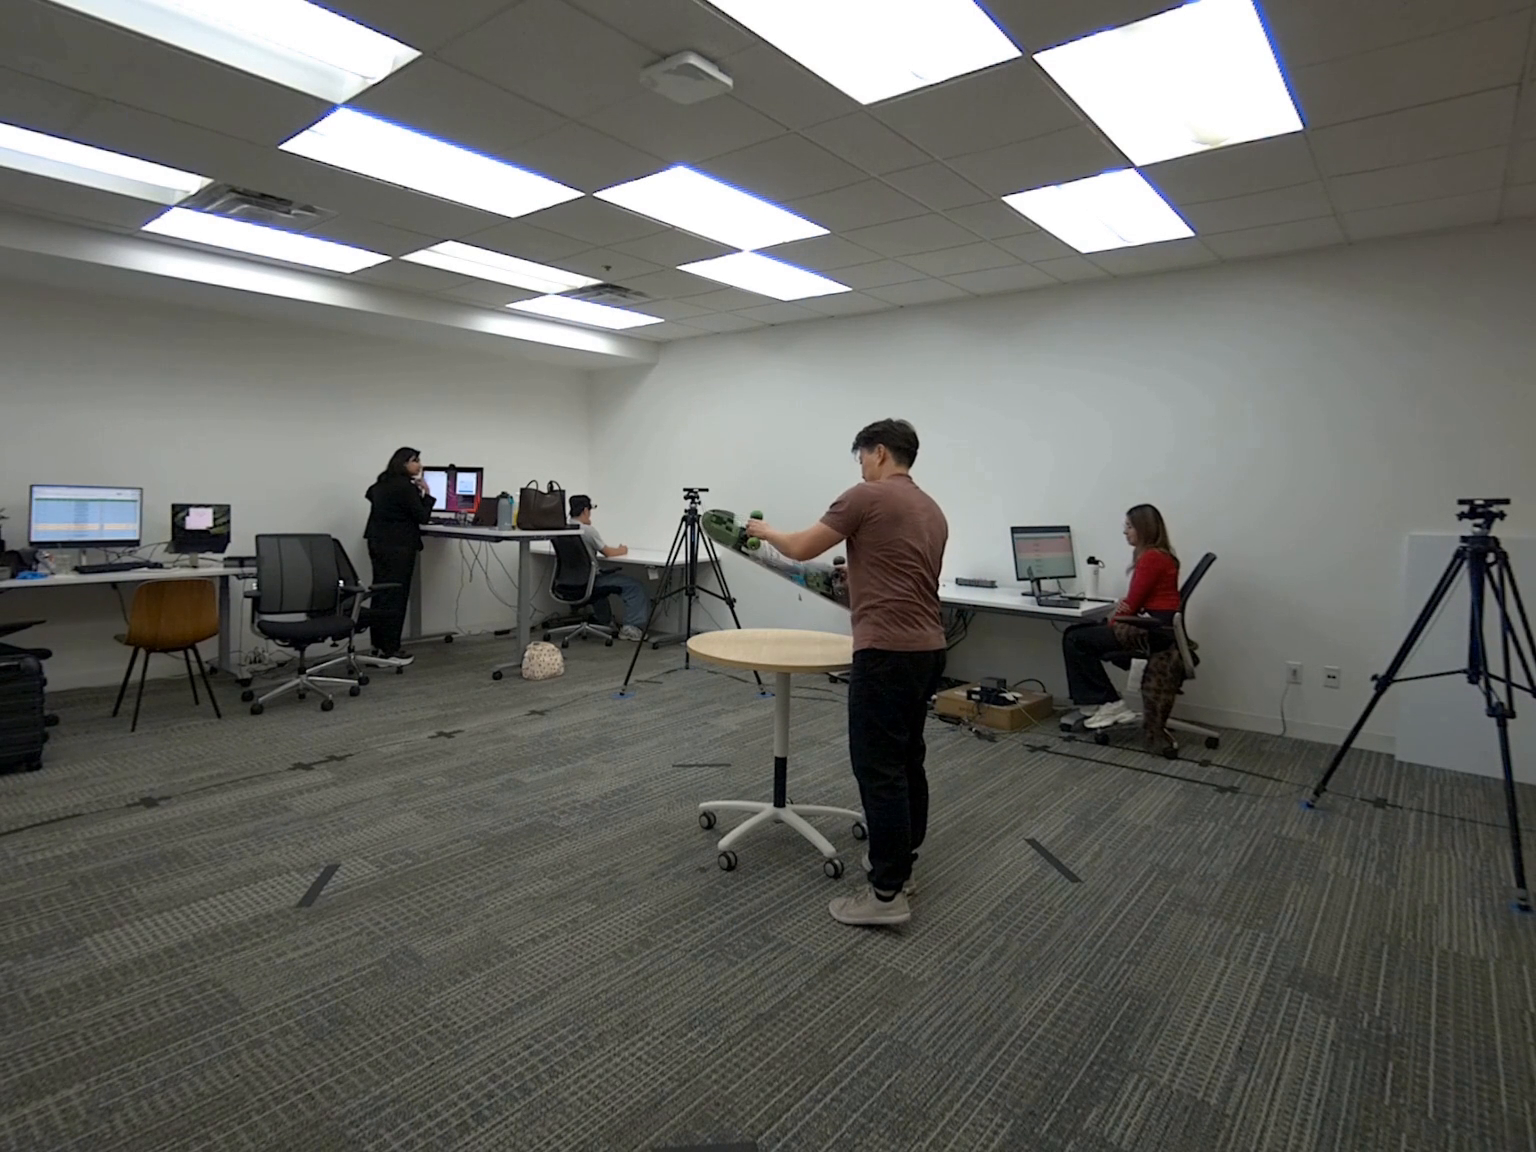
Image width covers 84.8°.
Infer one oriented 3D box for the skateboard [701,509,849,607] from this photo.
[{"bbox_3d":[0.089,-0.071,3.294,0.768,0.198,0.110,27,-49,-17],"label":"skateboard"}]
